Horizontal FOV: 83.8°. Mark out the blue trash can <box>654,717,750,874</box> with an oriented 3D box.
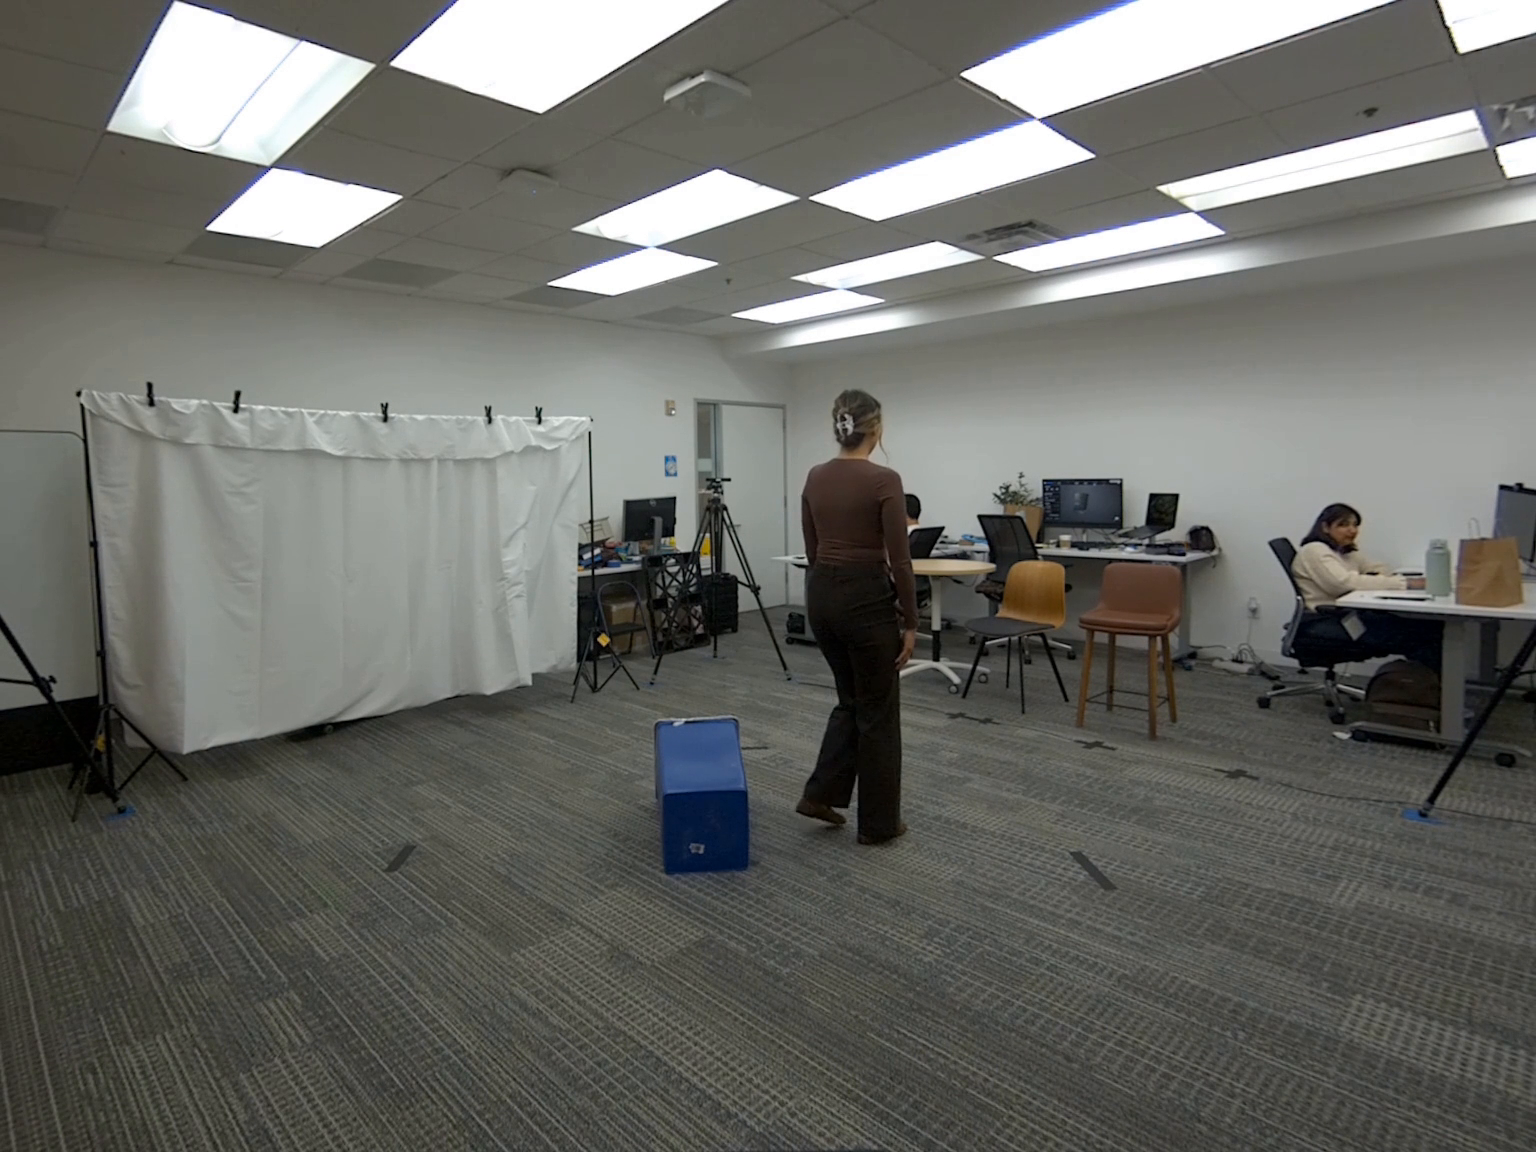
[{"bbox_3d":[-0.258,0.852,3.372,0.372,0.375,0.723,-1,9,-8],"label":"blue trash can"}]
